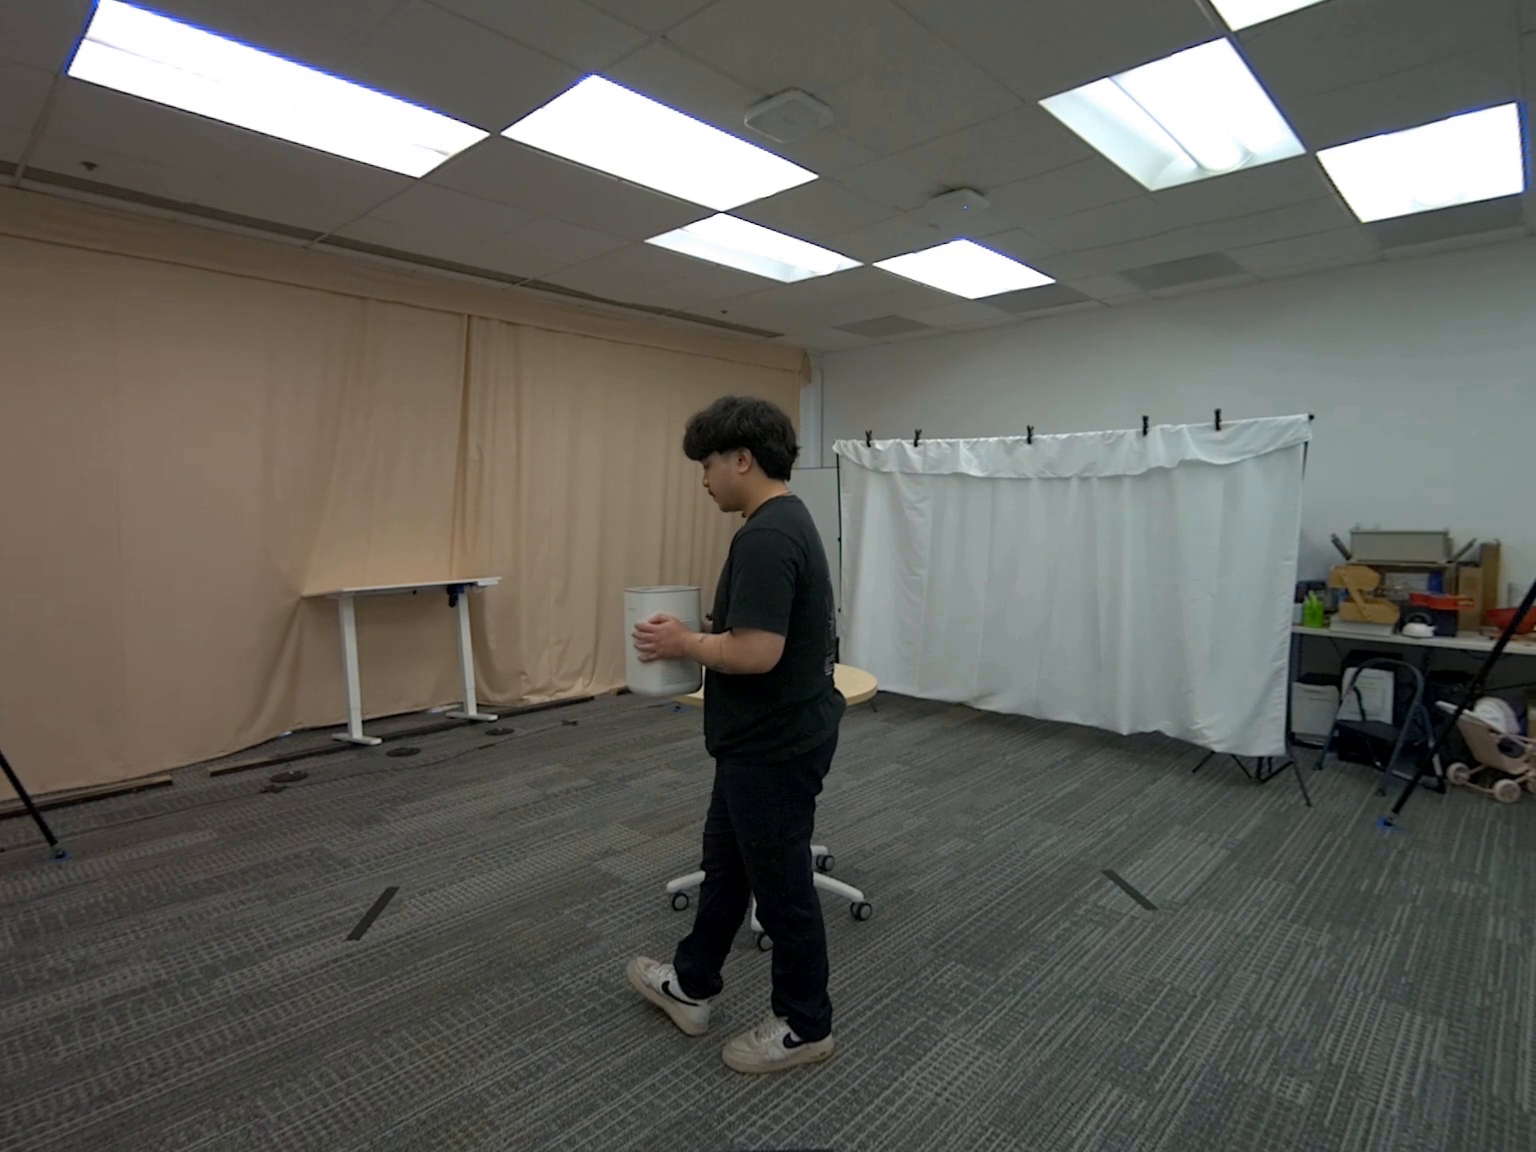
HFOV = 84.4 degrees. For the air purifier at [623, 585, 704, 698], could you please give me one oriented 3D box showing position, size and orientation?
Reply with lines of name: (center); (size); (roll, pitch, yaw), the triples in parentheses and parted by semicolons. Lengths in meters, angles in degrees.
air purifier: (-0.258, 0.164, 2.133); (0.166, 0.265, 0.176); (-2, 1, -37)
